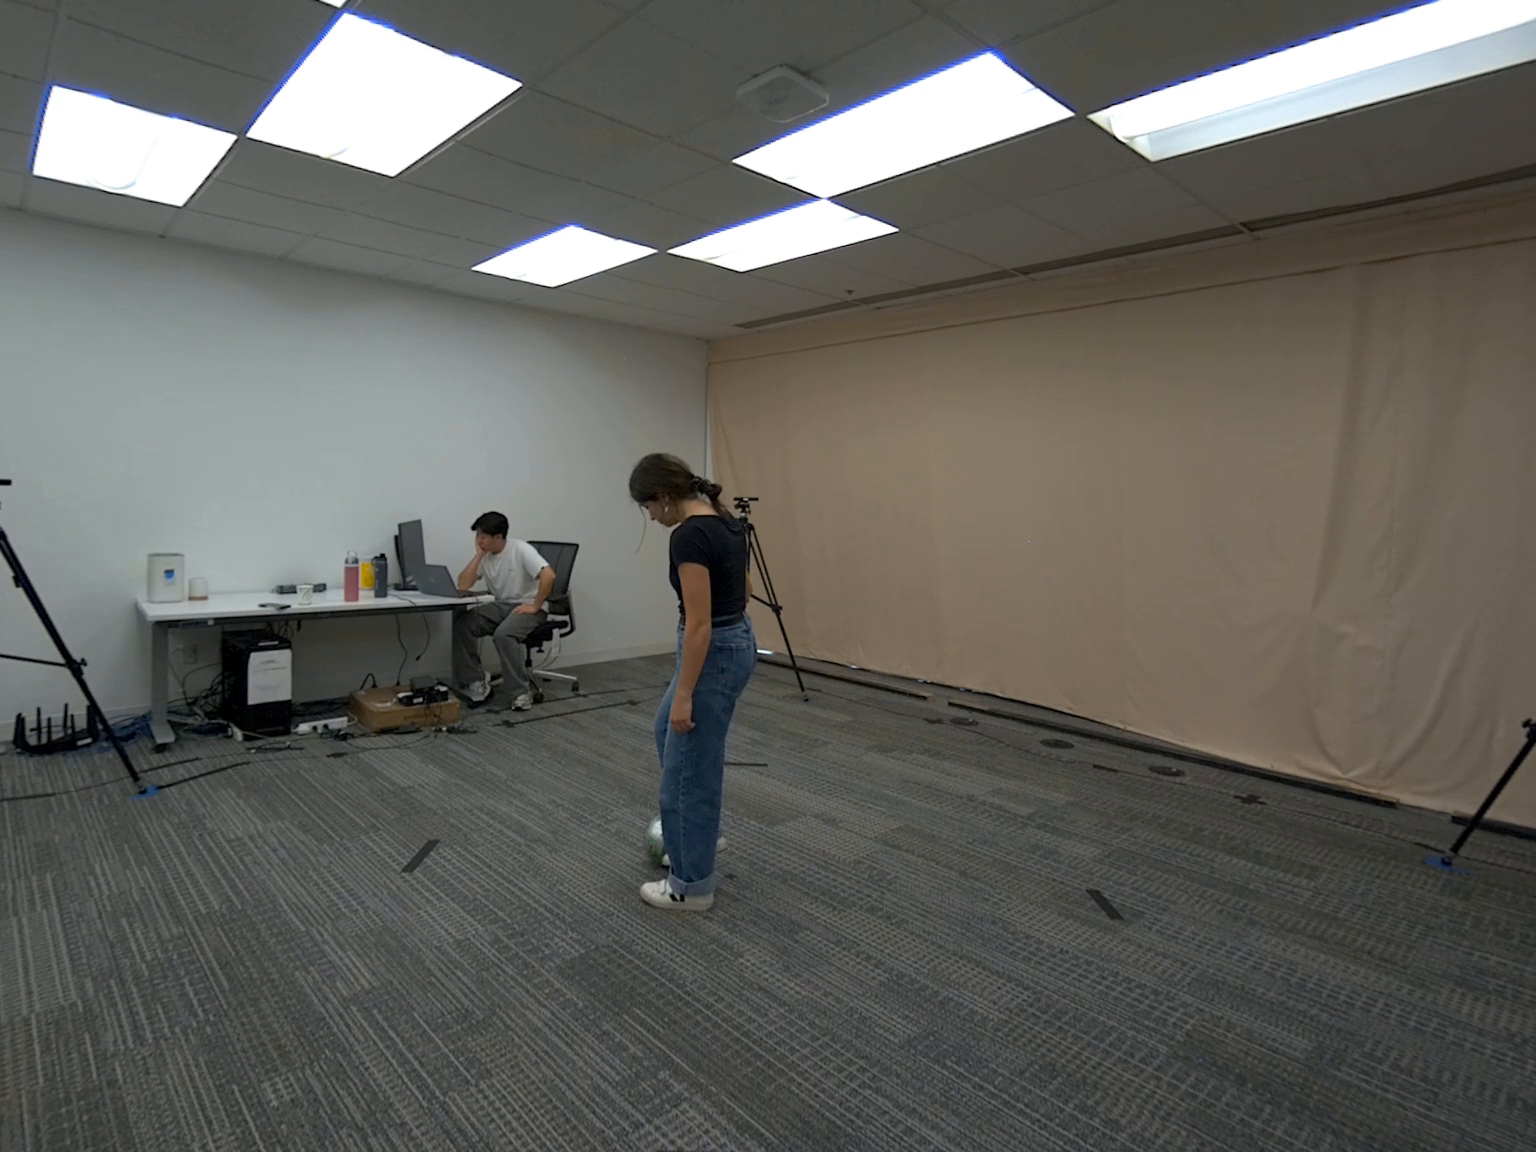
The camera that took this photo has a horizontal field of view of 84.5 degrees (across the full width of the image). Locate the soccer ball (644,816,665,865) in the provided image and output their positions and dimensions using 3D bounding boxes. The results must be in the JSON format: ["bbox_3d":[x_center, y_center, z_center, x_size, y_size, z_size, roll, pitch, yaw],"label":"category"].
[{"bbox_3d":[-0.392,1.005,3.195,0.187,0.187,0.188,1,4,-1],"label":"soccer ball"}]
